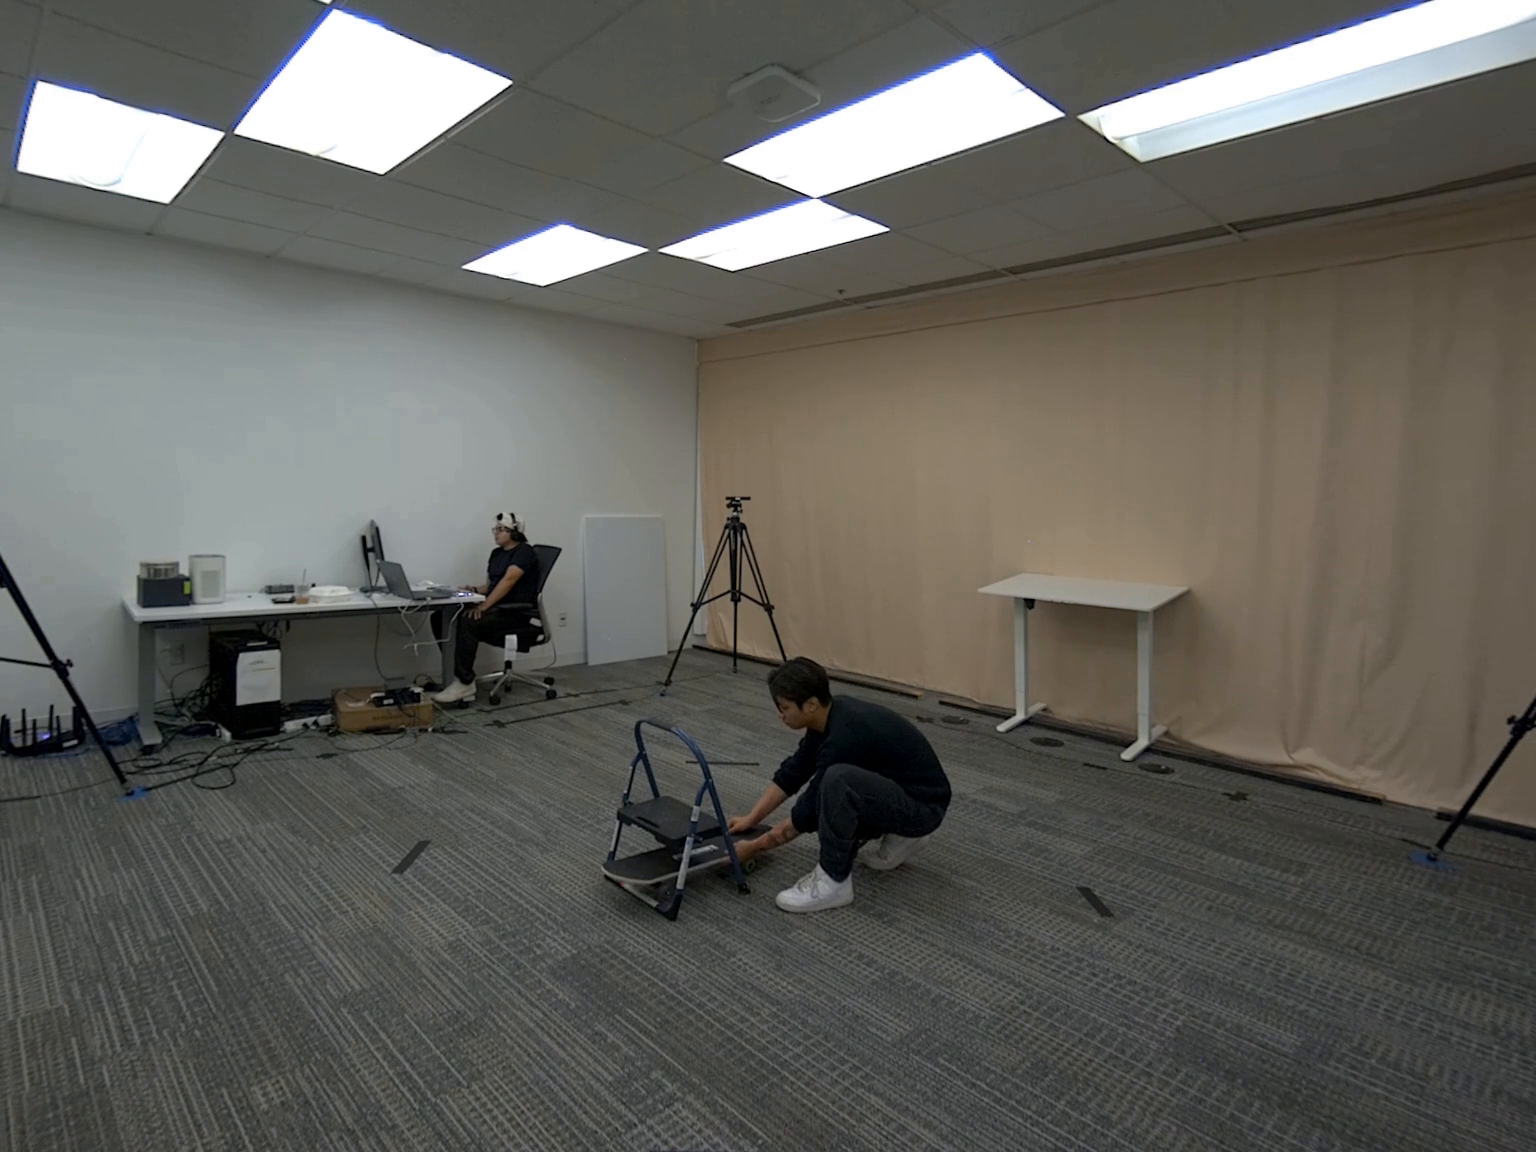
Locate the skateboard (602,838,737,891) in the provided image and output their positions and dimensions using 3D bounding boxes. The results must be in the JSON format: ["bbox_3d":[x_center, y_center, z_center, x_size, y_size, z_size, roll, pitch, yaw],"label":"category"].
[{"bbox_3d":[-0.257,1.031,3.051,0.198,0.110,0.767,7,6,44],"label":"skateboard"}]
